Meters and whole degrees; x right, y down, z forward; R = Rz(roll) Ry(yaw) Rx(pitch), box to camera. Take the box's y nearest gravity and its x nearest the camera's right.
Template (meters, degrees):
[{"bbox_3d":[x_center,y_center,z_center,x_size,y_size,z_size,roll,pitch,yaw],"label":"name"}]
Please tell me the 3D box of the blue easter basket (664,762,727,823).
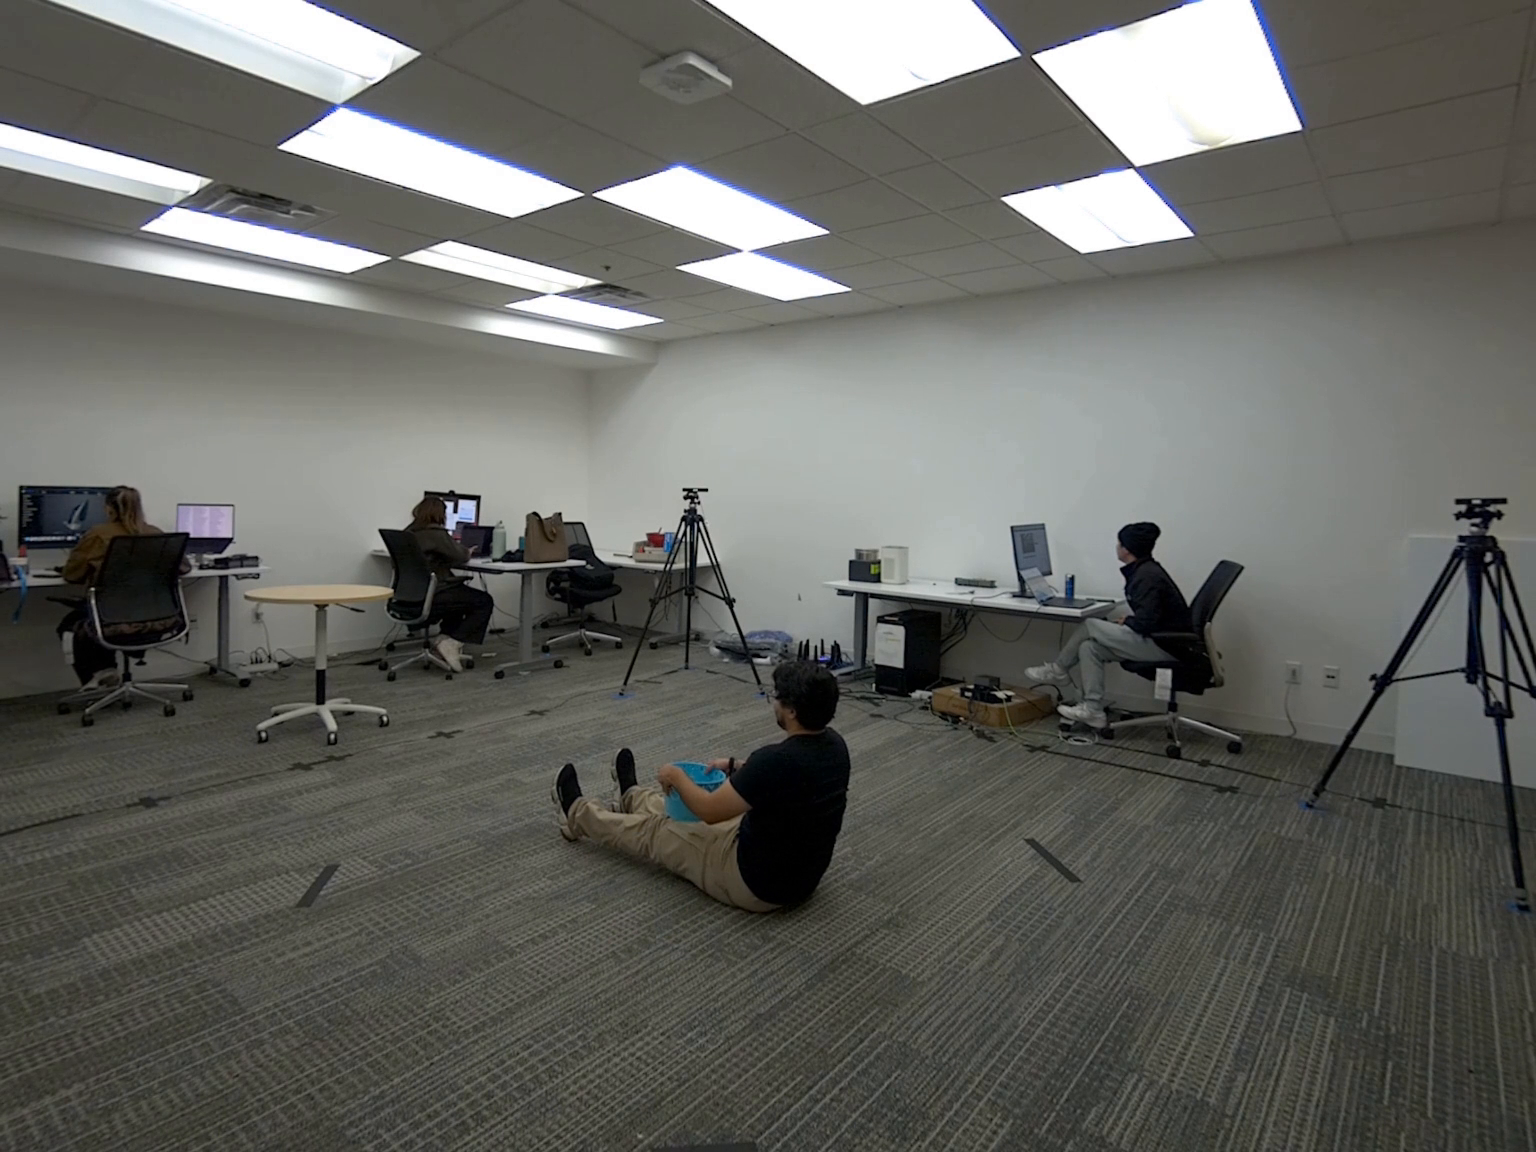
[{"bbox_3d":[-0.281,0.796,3.121,0.243,0.155,0.244,7,4,-2],"label":"blue easter basket"}]
